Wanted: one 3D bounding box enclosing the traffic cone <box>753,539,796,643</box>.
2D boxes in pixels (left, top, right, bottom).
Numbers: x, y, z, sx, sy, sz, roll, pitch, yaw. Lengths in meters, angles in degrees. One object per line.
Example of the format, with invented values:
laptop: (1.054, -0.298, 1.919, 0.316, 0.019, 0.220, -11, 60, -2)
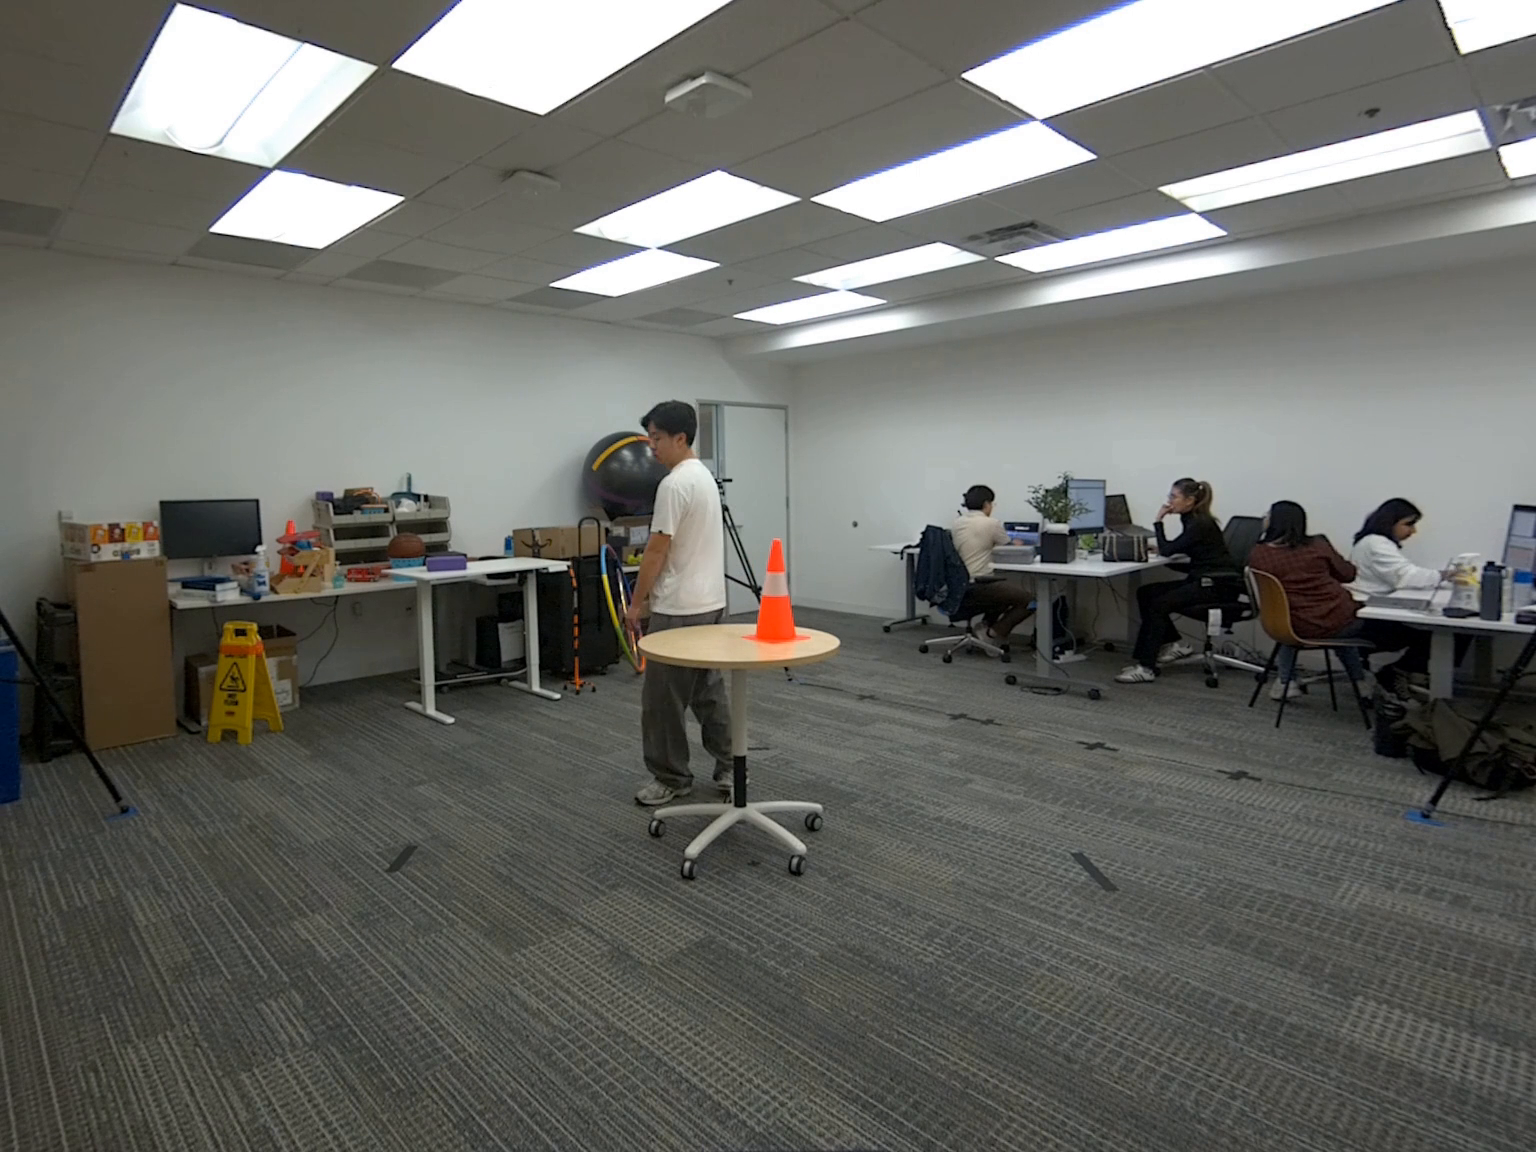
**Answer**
traffic cone: (0.028, 0.054, 3.305, 0.209, 0.383, 0.199, 3, 4, 42)
